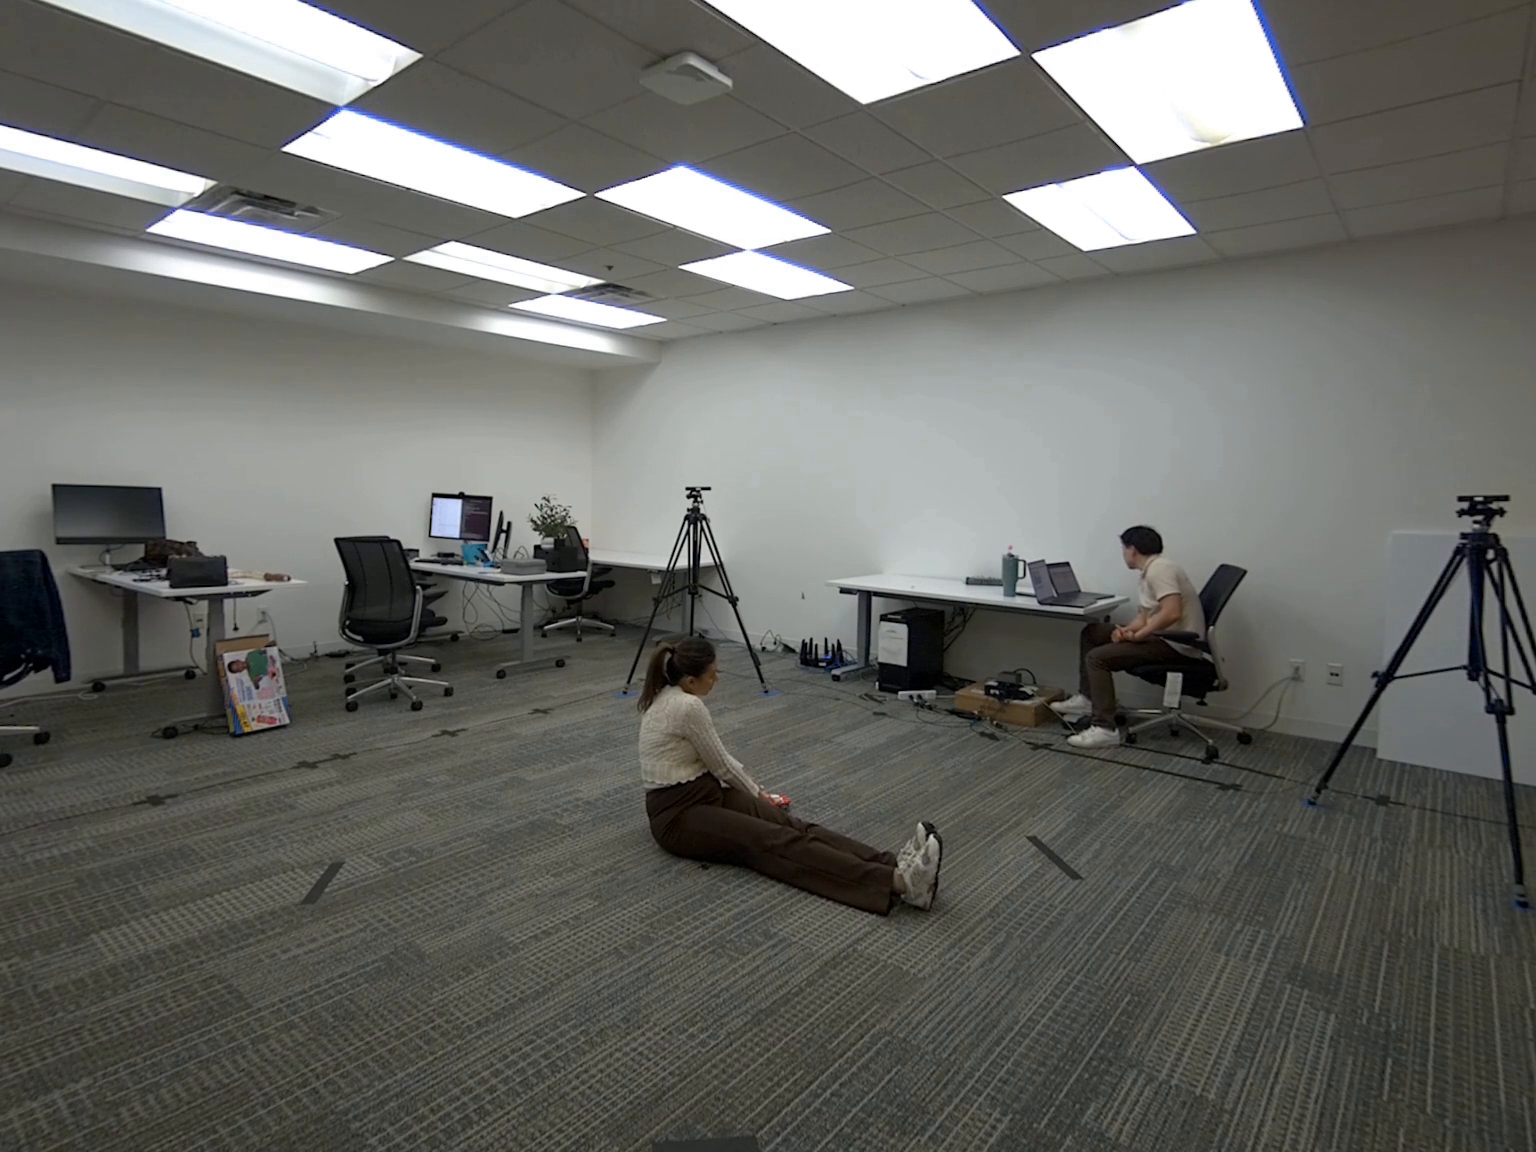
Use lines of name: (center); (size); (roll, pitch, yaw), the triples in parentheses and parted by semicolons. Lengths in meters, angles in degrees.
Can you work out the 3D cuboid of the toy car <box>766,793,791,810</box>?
toy car: (-0.040, 0.980, 3.683); (0.248, 0.083, 0.133); (10, 1, -21)
